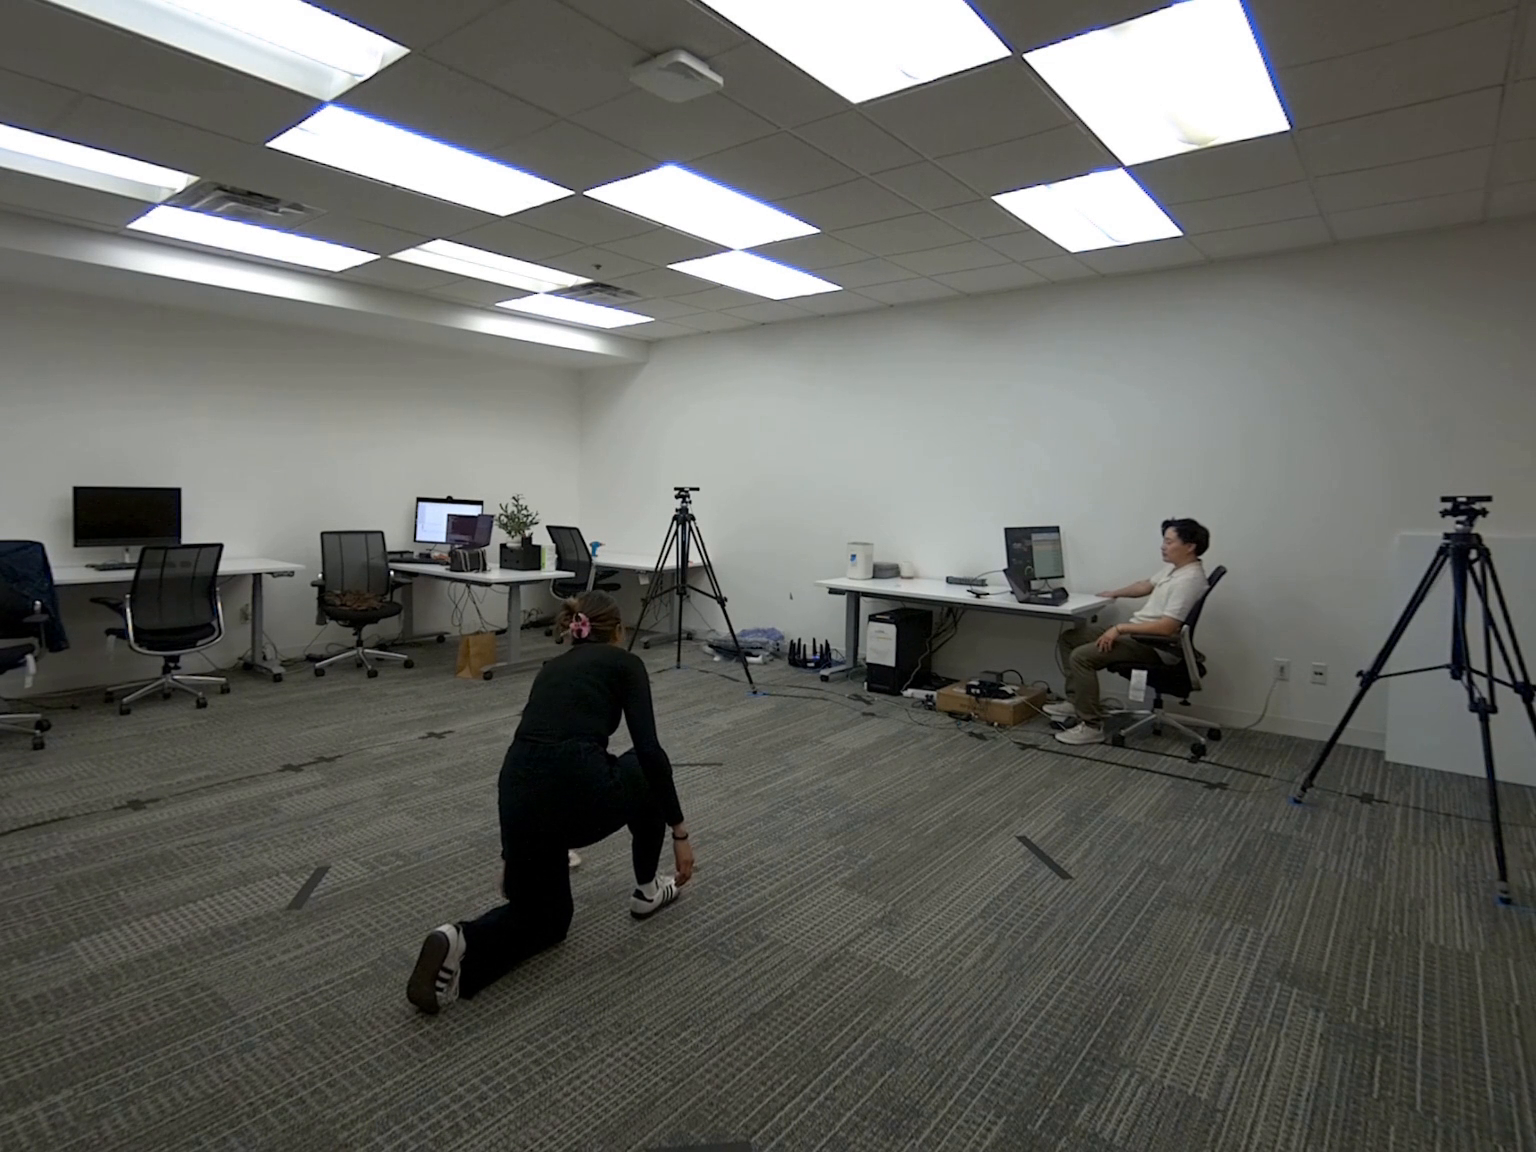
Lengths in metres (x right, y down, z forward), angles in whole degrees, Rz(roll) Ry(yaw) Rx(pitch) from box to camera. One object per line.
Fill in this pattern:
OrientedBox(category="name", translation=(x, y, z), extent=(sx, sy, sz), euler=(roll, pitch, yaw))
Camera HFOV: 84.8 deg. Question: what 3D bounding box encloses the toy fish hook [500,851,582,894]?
OrientedBox(category="toy fish hook", translation=(-0.794, 1.014, 2.970), extent=(0.224, 0.048, 0.505), euler=(0, -2, -3))
